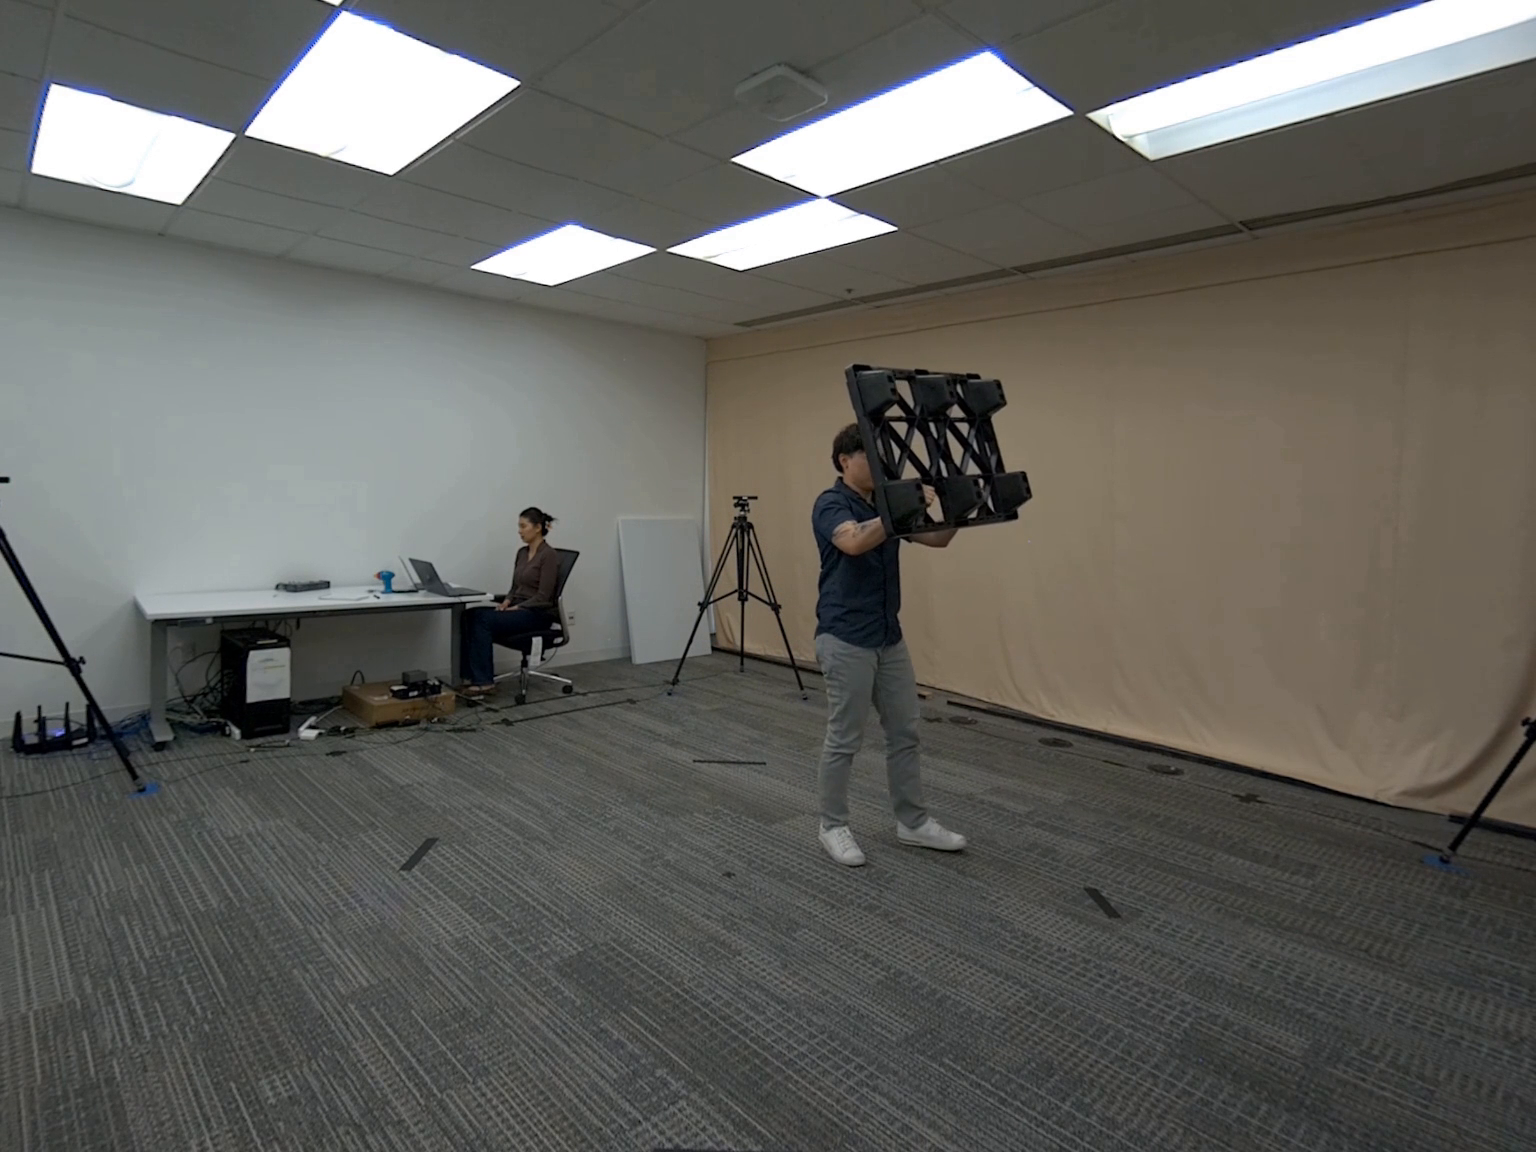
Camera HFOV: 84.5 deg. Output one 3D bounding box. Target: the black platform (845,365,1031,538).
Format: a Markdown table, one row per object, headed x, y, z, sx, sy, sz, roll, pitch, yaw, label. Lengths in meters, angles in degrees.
| x | y | z | sx | sy | sz | roll | pitch | yaw | label |
| --- | --- | --- | --- | --- | --- | --- | --- | --- | --- |
| 0.642 | -0.473 | 3.021 | 0.789 | 0.608 | 0.145 | -8 | -7 | -43 | black platform |
